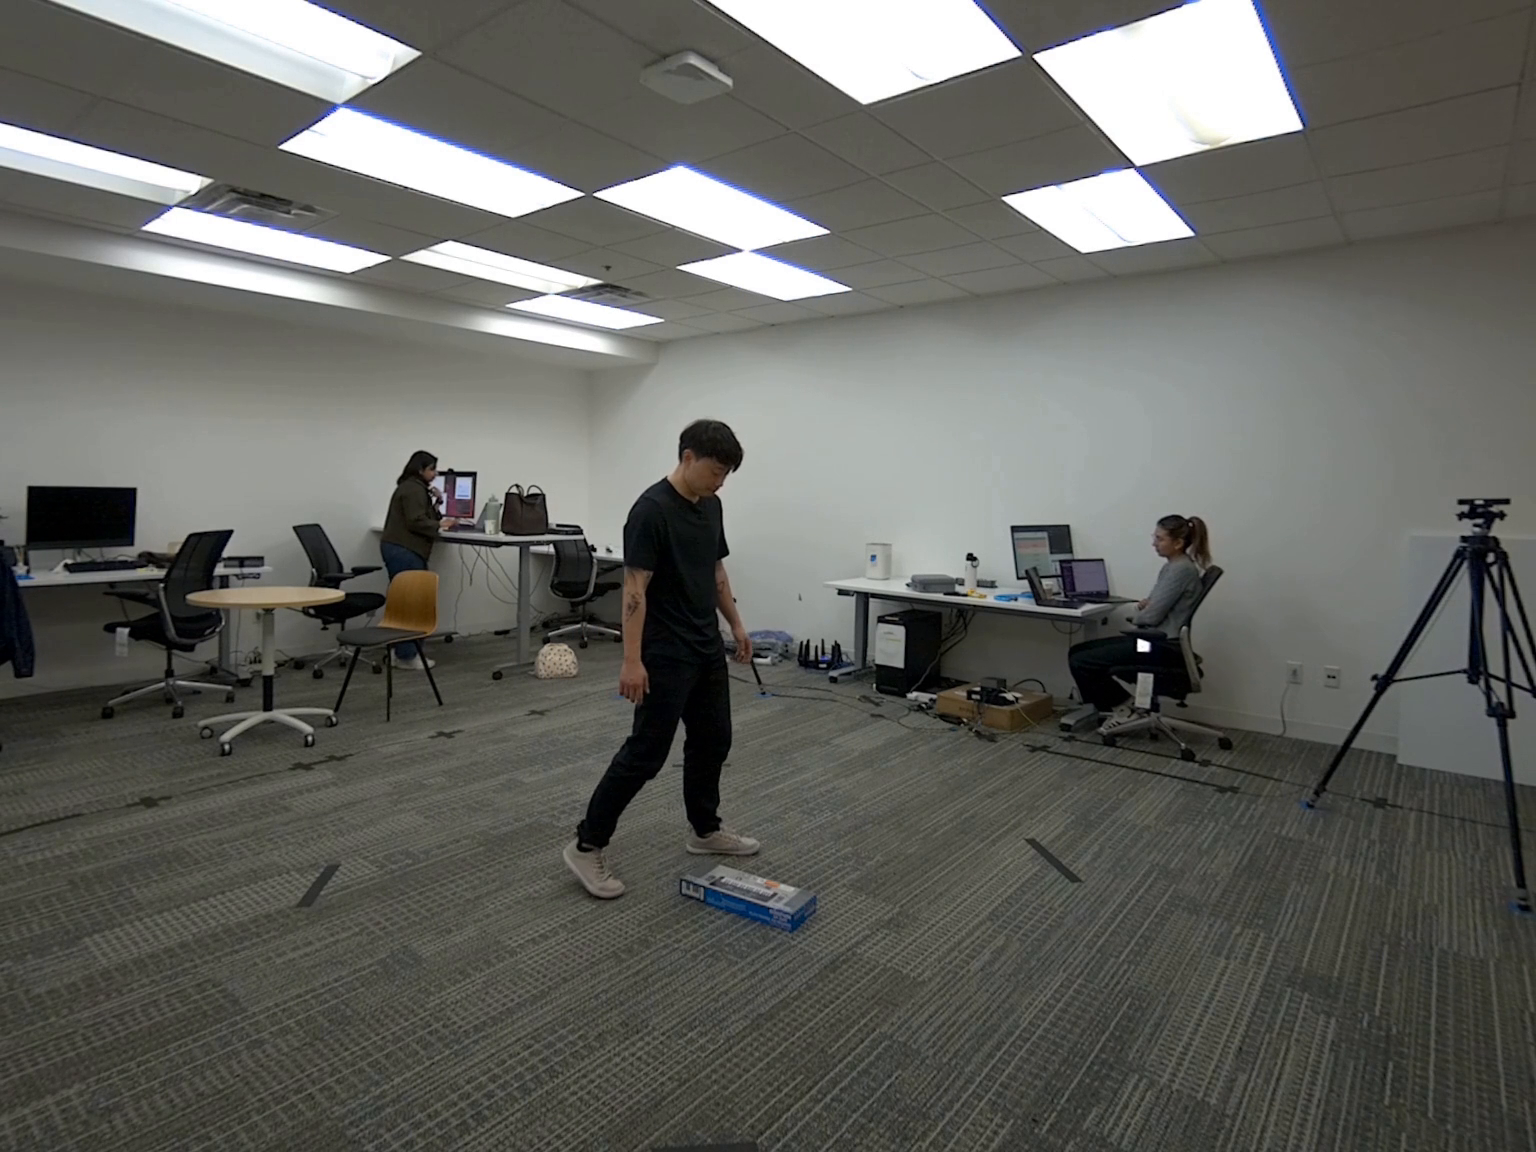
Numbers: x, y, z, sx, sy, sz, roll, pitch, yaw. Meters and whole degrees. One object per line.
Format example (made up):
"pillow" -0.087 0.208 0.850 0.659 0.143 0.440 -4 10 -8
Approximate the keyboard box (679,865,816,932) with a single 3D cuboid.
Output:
"keyboard box" -0.076 1.068 2.857 0.450 0.059 0.171 4 6 32
